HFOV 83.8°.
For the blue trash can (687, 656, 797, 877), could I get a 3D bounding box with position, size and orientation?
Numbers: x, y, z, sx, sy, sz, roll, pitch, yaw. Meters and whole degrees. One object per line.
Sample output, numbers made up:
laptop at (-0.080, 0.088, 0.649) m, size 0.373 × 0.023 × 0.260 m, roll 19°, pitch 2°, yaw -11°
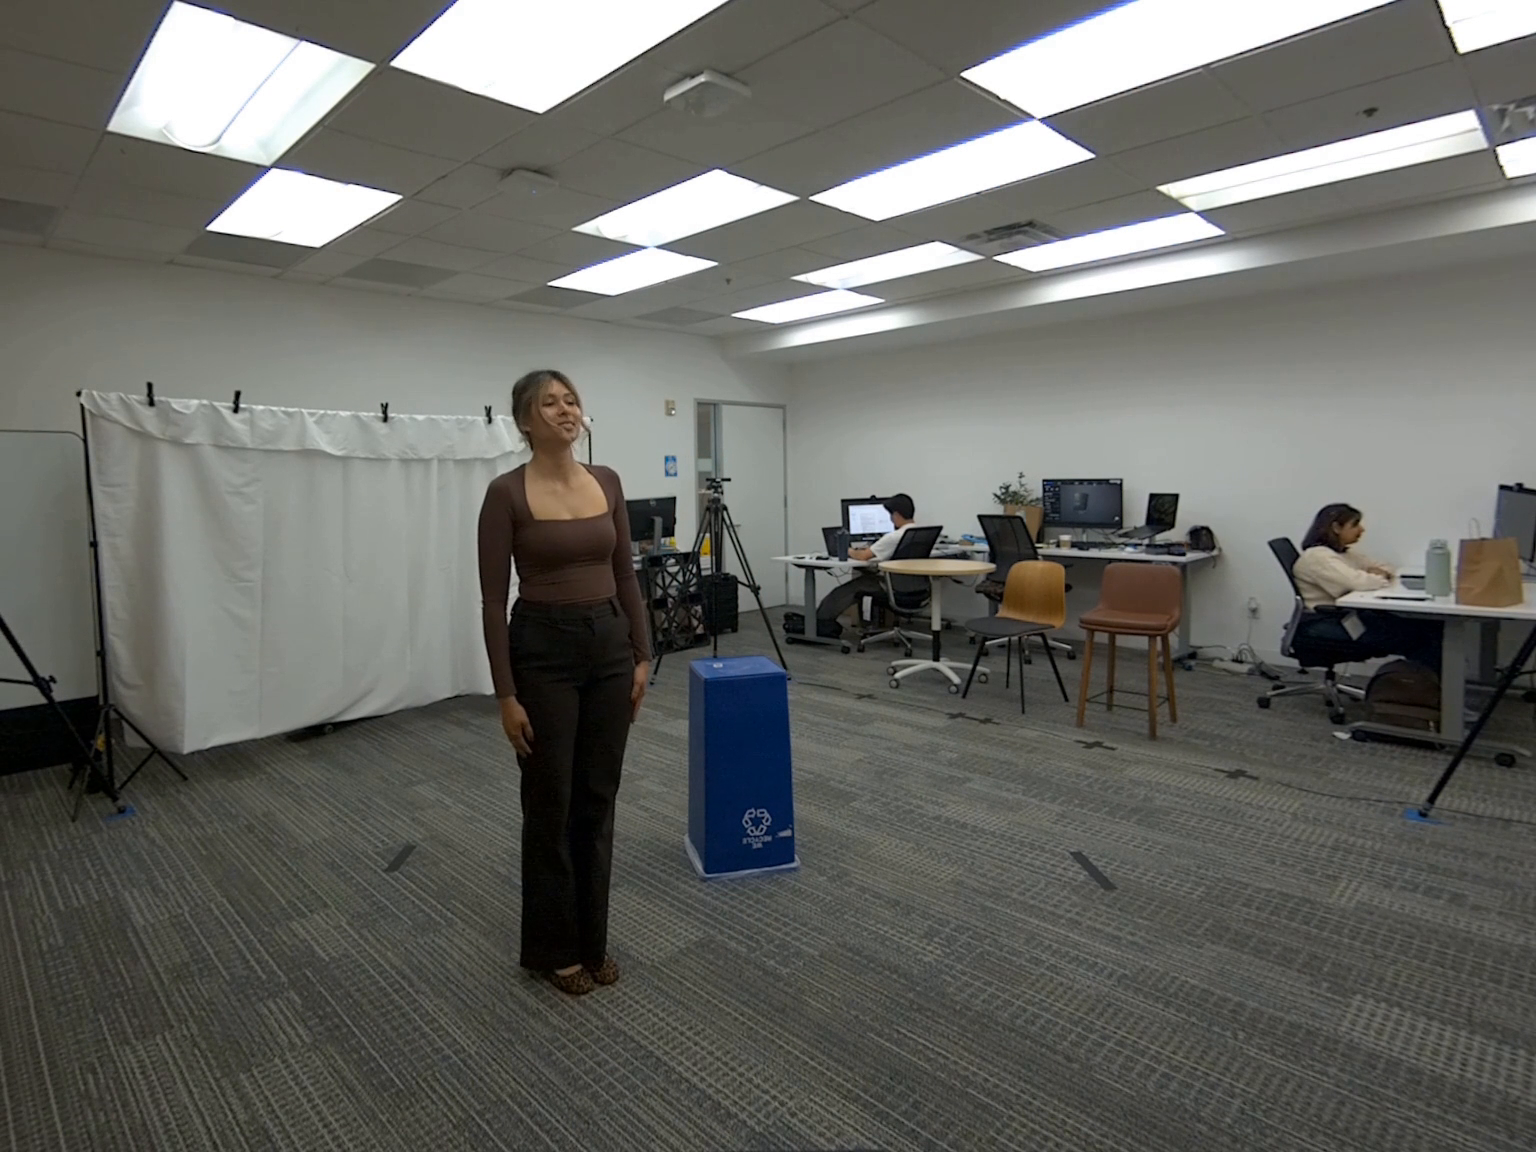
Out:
blue trash can at (-0.115, 0.683, 3.157) m, size 0.369 × 0.711 × 0.384 m, roll -3°, pitch 5°, yaw -15°
